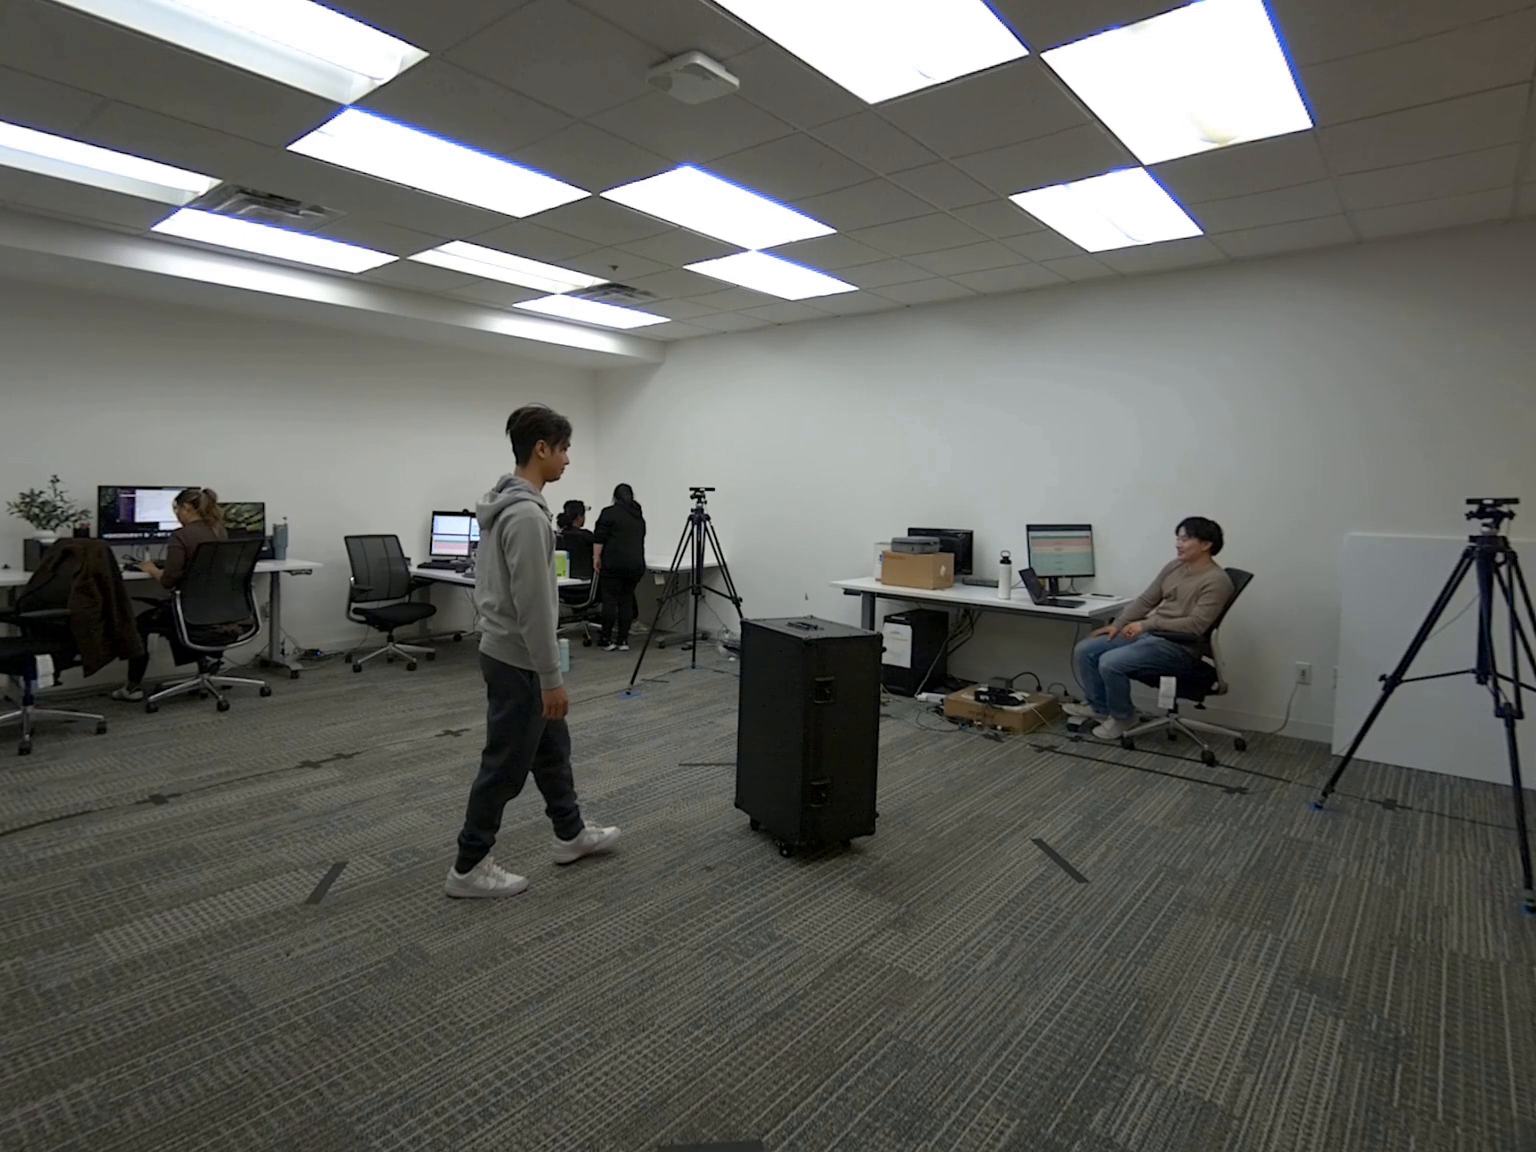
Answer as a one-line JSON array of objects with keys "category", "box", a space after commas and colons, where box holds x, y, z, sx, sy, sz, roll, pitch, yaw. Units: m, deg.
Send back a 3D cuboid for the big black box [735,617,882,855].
[{"category": "big black box", "box": [0.146, 0.619, 3.404, 0.385, 0.859, 0.537, 0, 3, -31]}]
